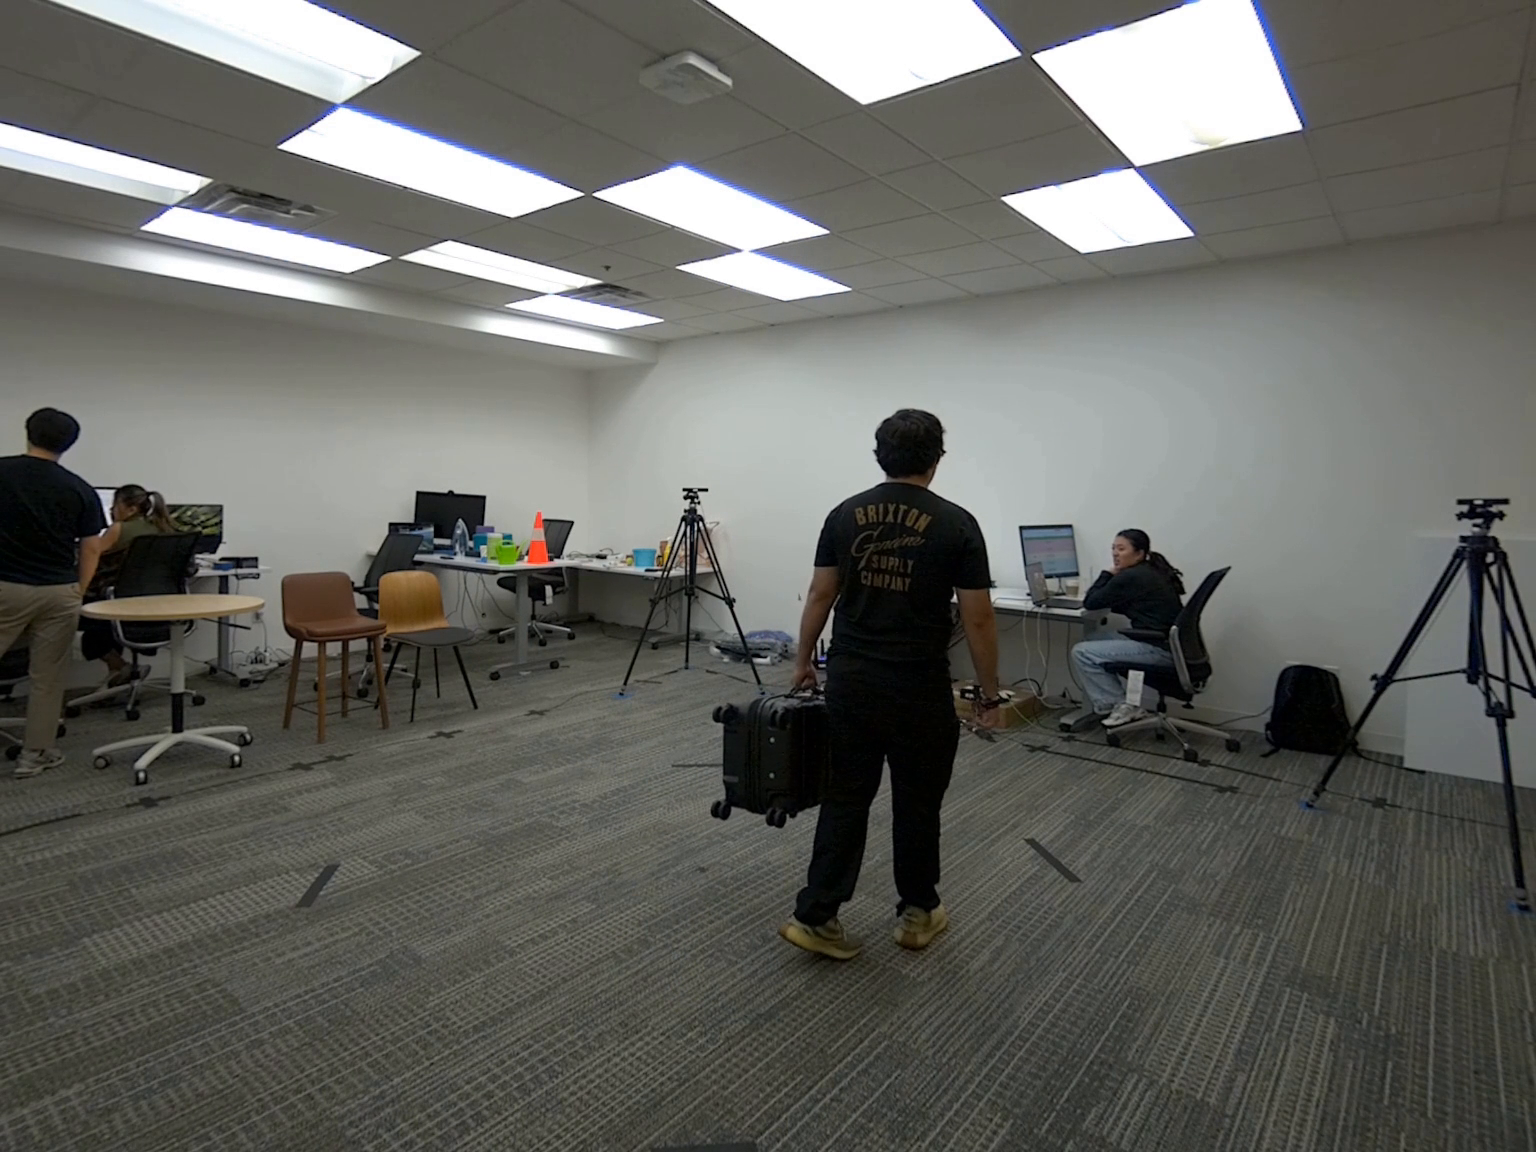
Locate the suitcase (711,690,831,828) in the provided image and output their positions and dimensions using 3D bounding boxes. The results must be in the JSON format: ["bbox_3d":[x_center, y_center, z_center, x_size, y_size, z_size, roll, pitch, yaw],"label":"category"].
[{"bbox_3d":[0.172,0.594,2.990,0.264,0.386,0.946,-4,-7,32],"label":"suitcase"}]
